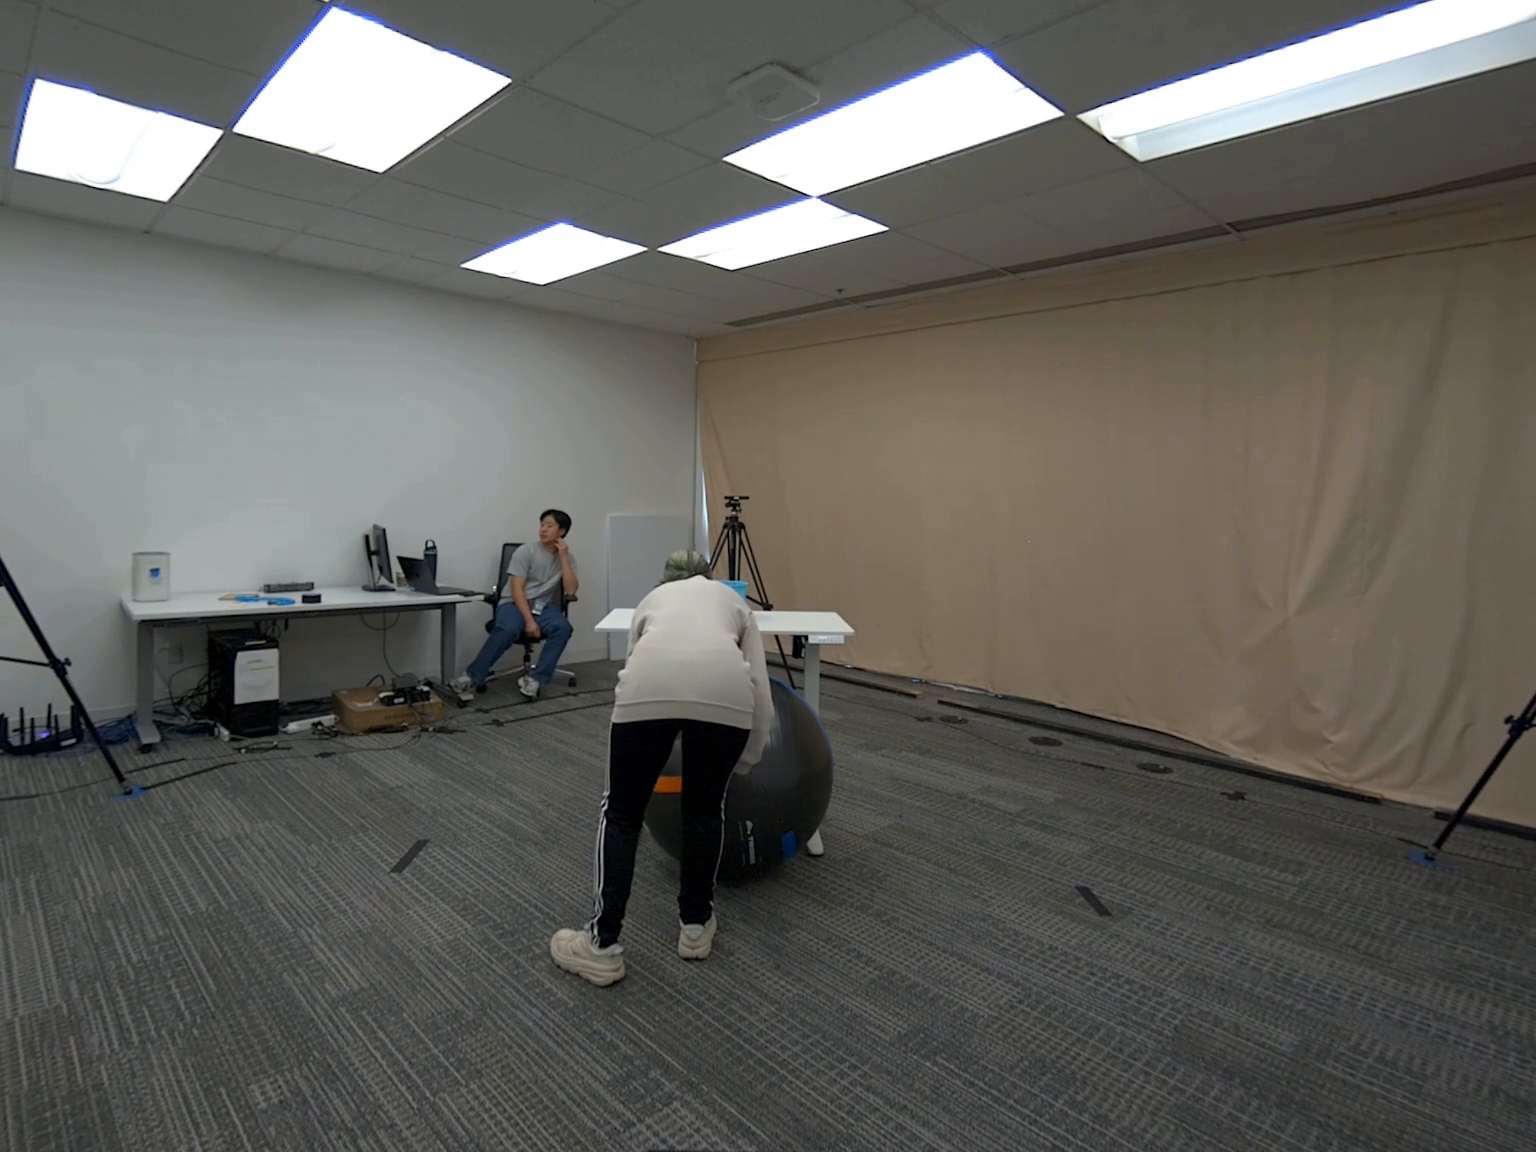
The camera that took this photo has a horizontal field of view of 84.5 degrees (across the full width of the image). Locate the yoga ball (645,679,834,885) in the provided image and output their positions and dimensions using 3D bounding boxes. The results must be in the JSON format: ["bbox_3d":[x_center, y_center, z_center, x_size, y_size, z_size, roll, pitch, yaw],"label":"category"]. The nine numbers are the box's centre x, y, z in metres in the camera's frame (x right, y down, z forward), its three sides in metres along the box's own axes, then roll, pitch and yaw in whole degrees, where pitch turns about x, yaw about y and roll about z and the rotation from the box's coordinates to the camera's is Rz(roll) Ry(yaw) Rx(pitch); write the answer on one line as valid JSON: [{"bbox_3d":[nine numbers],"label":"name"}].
[{"bbox_3d":[-0.141,0.730,3.158,0.757,0.756,0.761,1,4,-1],"label":"yoga ball"}]
